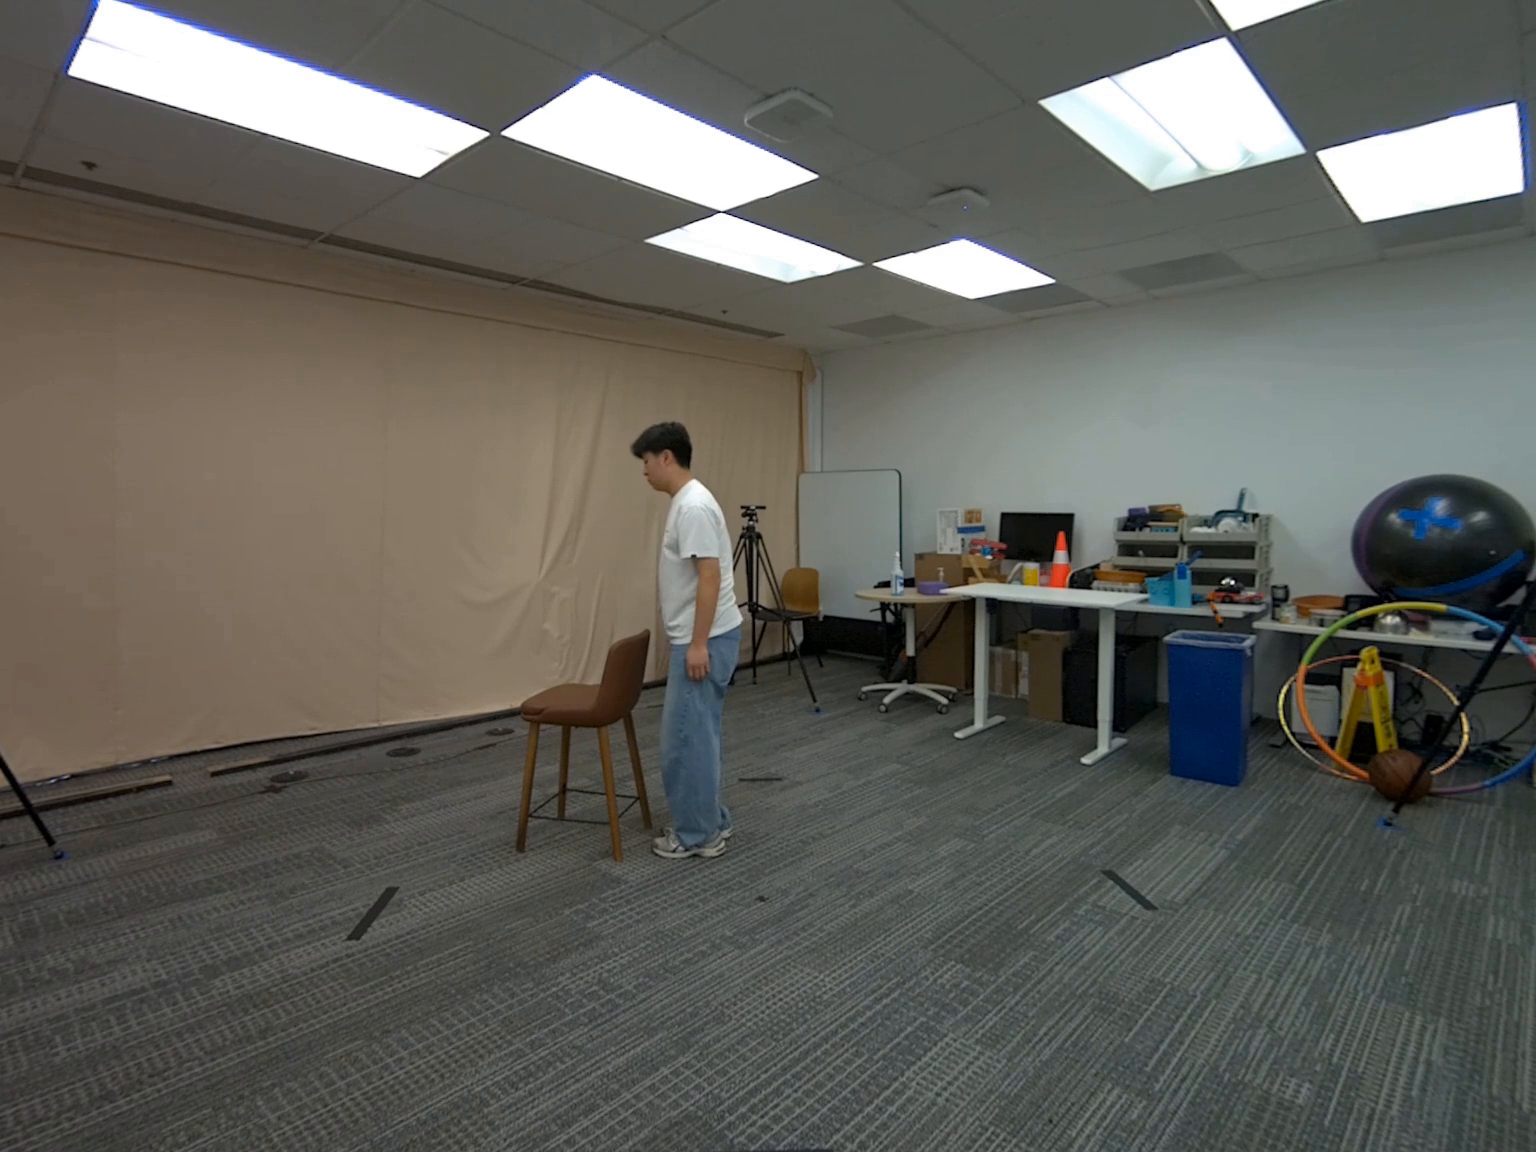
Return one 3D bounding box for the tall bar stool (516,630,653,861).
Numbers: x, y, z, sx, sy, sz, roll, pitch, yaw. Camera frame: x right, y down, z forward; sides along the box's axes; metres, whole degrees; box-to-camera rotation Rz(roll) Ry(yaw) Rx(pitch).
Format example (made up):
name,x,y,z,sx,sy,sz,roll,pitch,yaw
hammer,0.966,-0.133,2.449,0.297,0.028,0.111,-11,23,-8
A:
name,x,y,z,sx,sy,sz,roll,pitch,yaw
tall bar stool,-0.755,0.669,3.518,0.475,0.887,0.450,3,4,14
